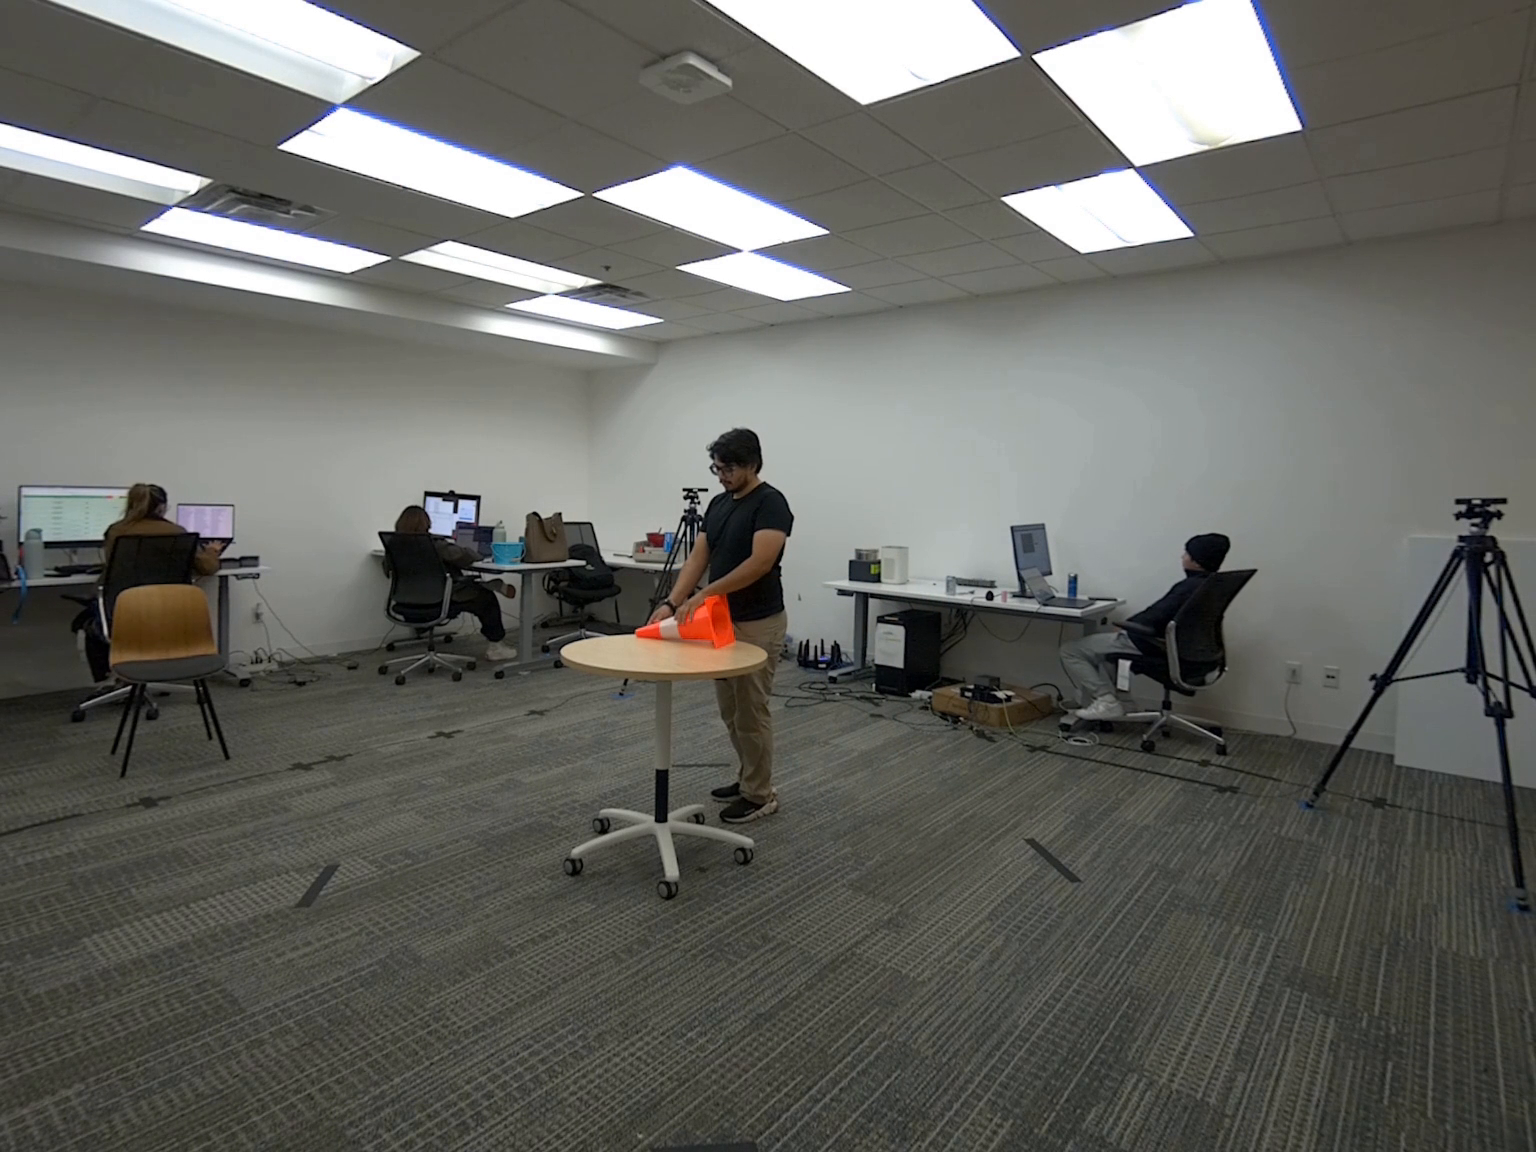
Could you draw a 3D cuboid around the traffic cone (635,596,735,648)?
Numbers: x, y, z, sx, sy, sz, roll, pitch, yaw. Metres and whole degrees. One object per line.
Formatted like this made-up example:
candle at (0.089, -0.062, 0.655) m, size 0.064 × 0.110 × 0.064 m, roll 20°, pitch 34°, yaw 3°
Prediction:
traffic cone at (-0.373, 0.209, 3.394) m, size 0.390 × 0.203 × 0.201 m, roll -11°, pitch 1°, yaw 21°
